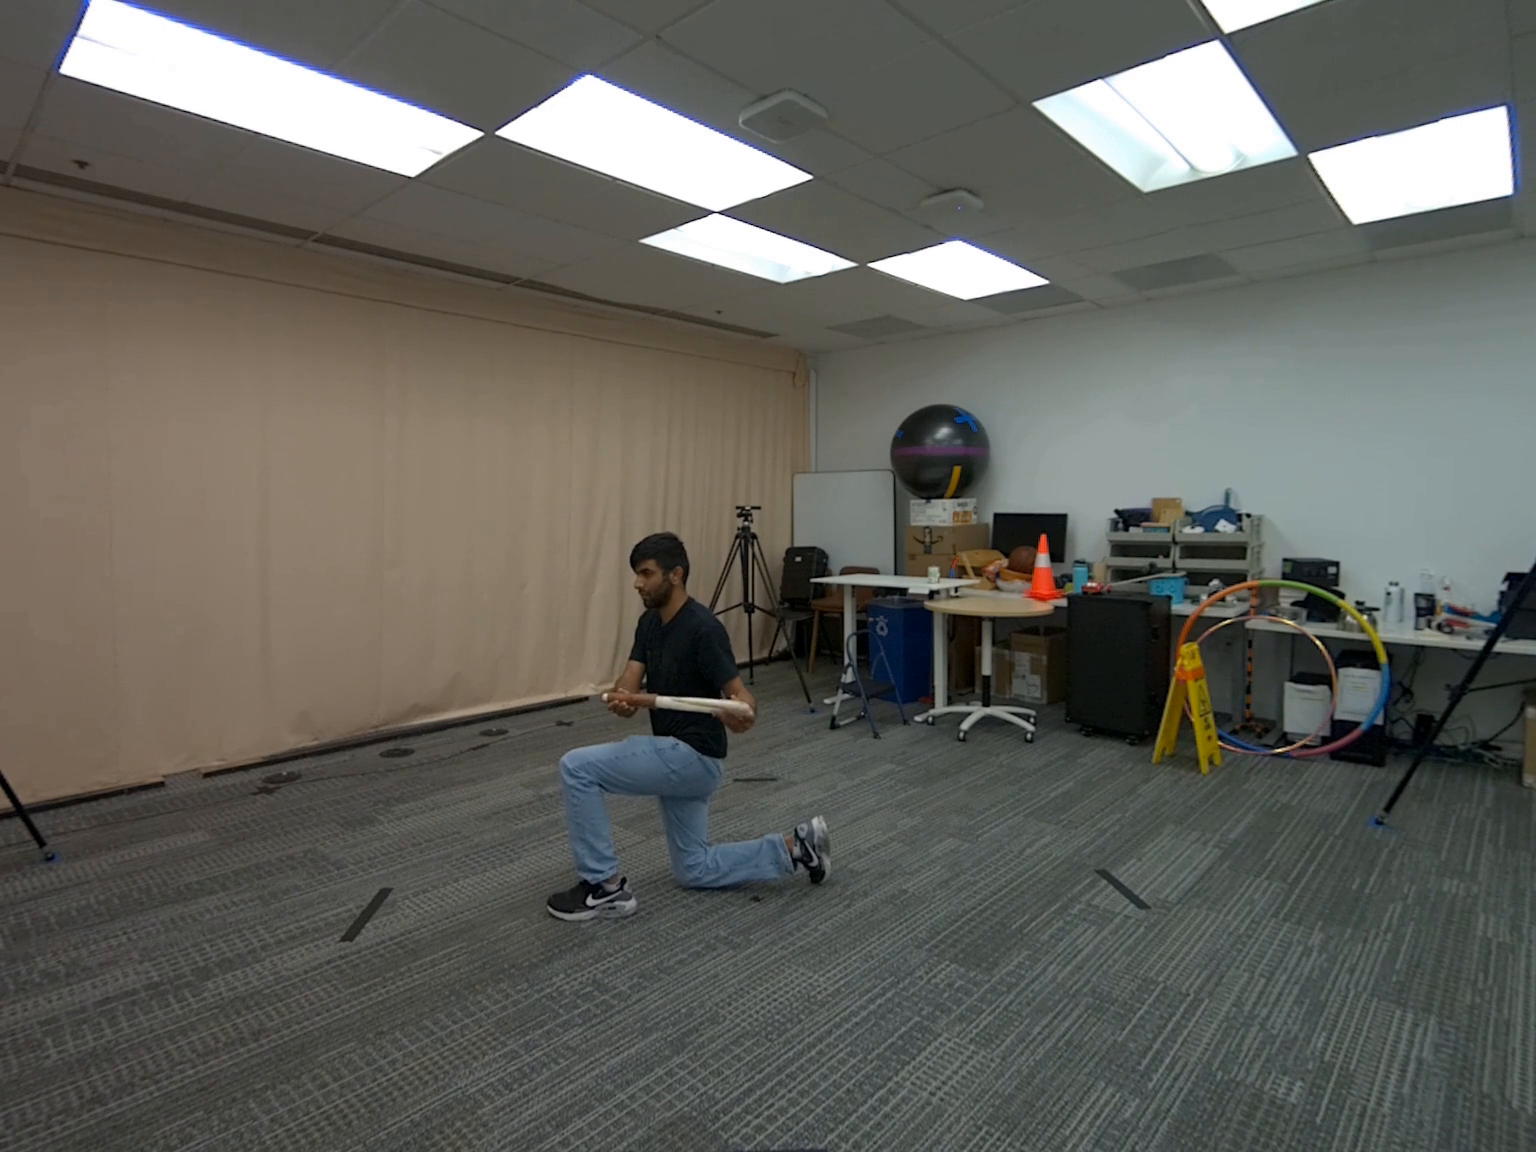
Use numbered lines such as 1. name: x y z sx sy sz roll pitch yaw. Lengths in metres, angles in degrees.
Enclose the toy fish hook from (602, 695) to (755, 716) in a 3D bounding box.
1. toy fish hook: -0.329 0.377 2.526 0.517 0.049 0.218 0 -19 20
